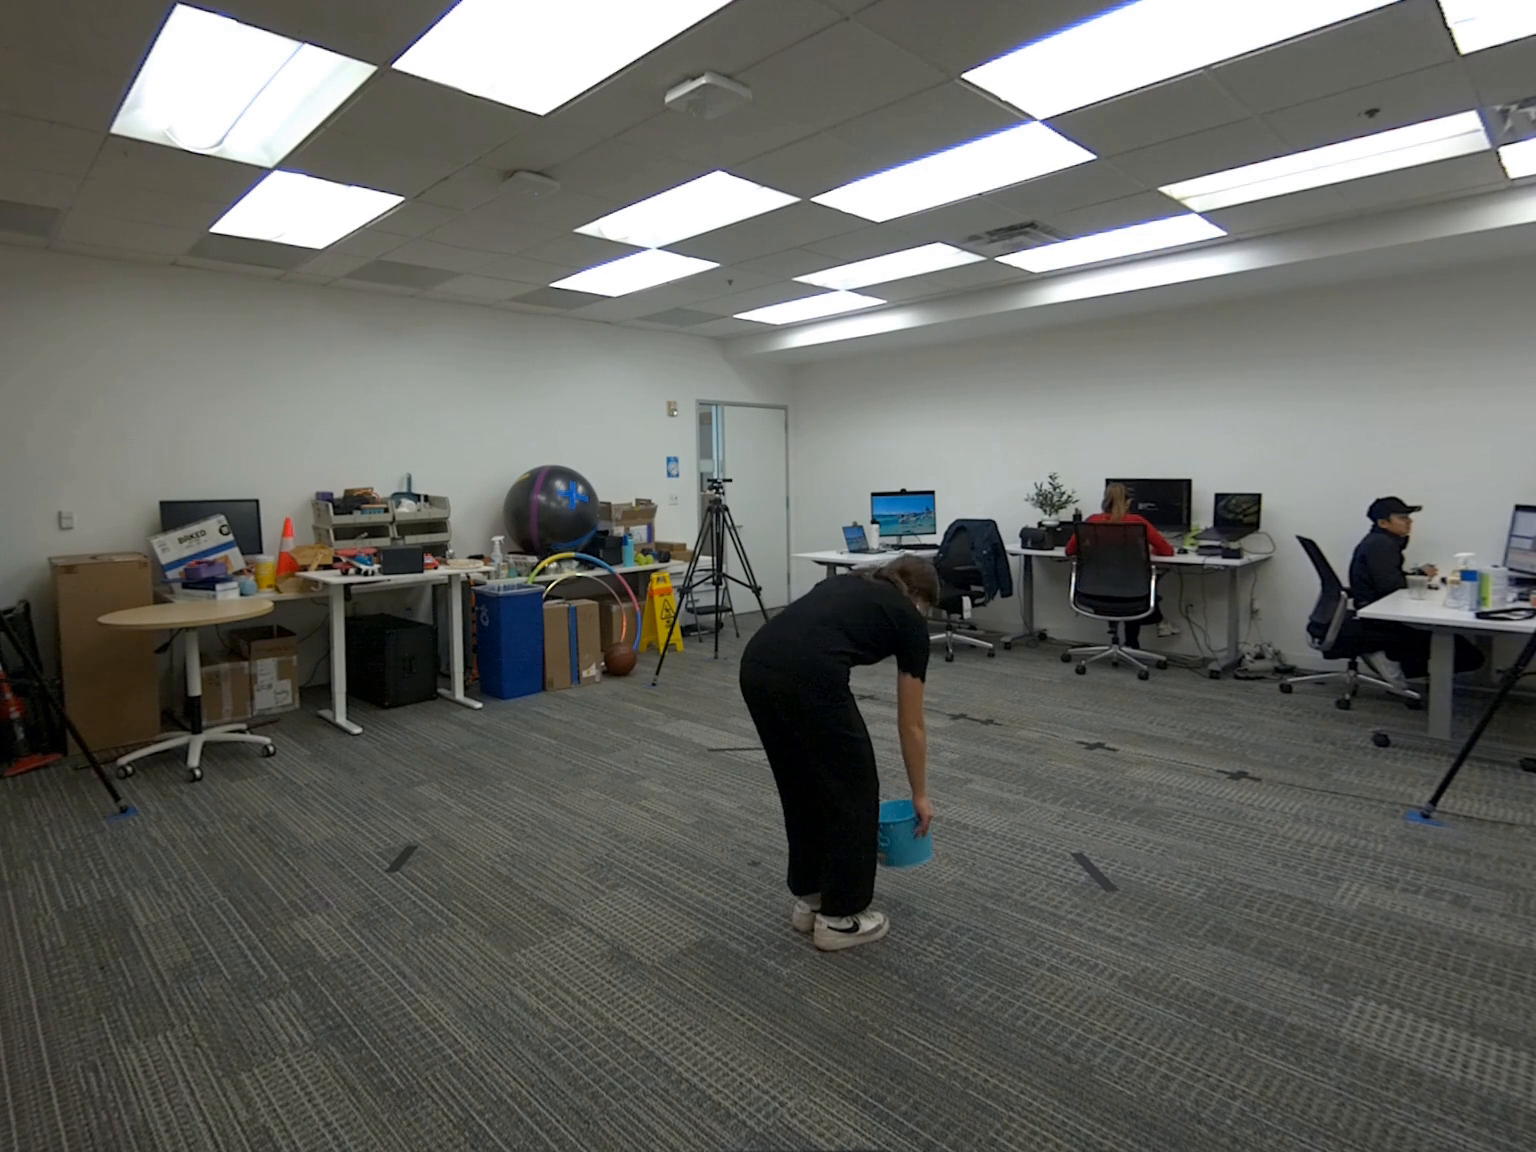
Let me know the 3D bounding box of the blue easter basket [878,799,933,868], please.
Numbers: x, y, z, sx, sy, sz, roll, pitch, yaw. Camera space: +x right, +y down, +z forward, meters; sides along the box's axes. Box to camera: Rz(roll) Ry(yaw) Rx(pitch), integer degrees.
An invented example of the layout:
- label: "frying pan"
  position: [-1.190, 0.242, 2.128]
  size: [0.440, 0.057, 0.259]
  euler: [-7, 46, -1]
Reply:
- label: "blue easter basket"
  position: [0.425, 0.831, 2.766]
  size: [0.243, 0.156, 0.243]
  euler: [-9, -1, -2]
